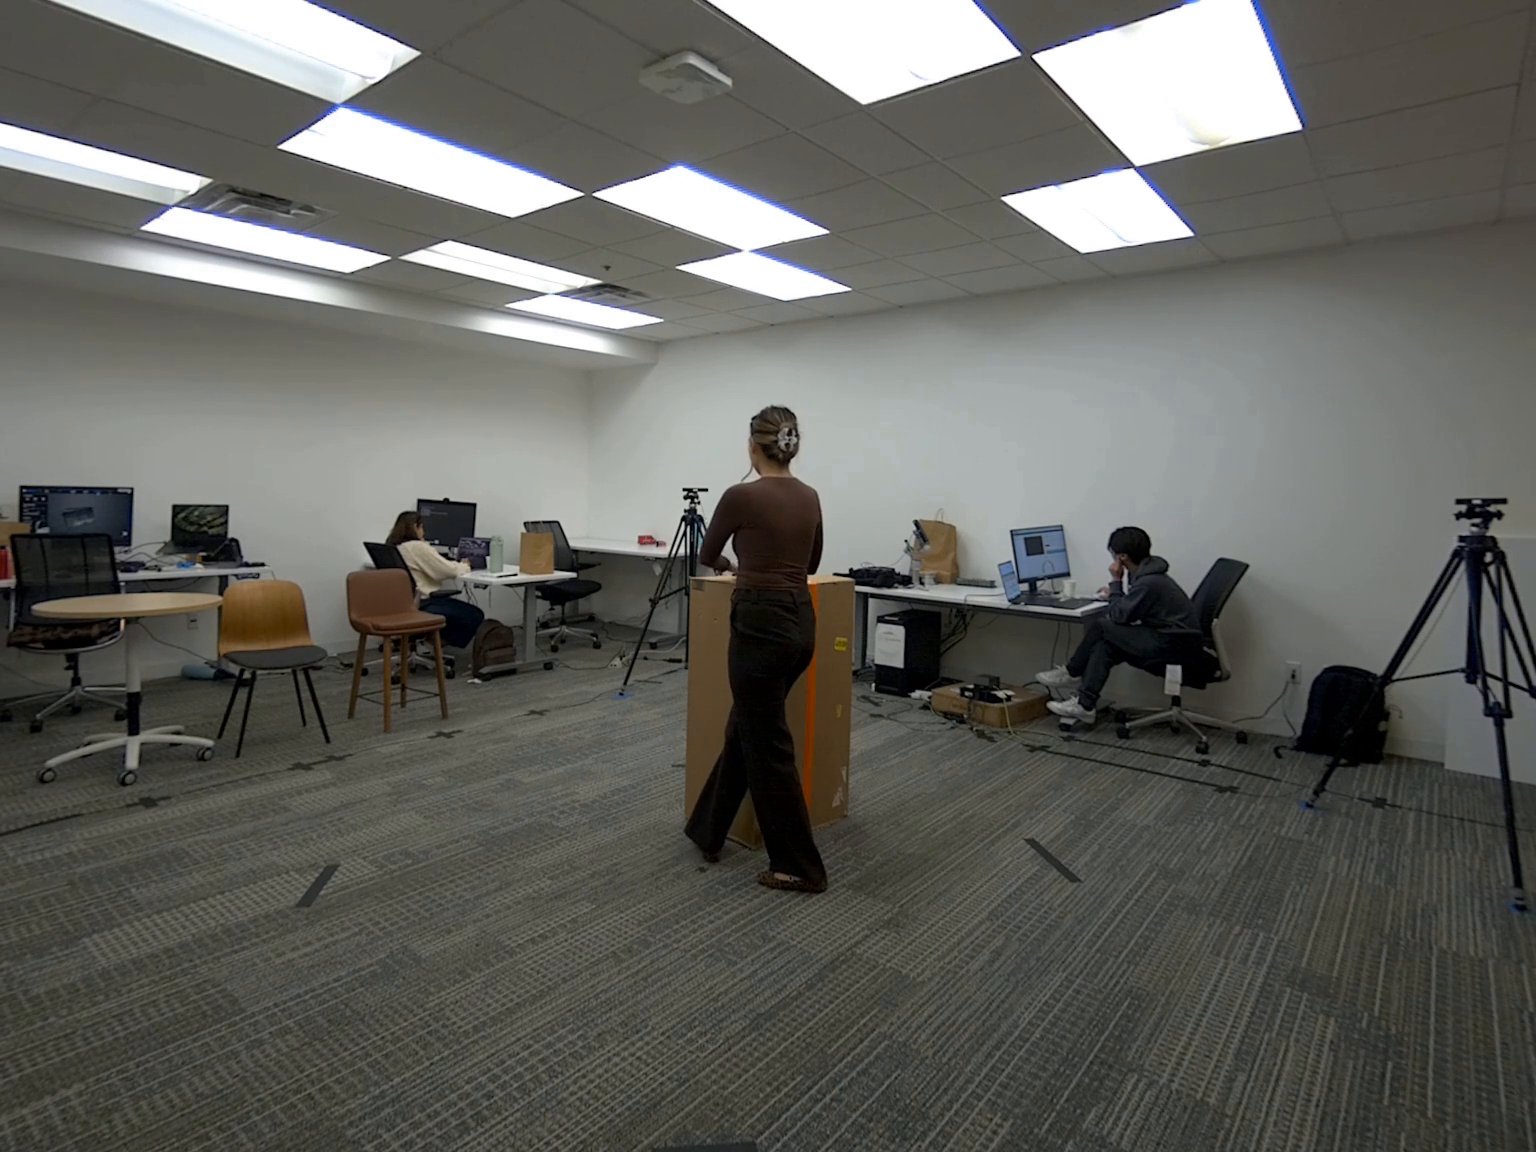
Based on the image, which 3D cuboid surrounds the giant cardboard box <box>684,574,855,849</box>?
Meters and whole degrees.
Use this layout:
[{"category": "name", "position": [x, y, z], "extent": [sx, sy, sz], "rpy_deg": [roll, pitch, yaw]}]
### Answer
[{"category": "giant cardboard box", "position": [0.003, 0.512, 3.607], "extent": [0.566, 1.024, 0.462], "rpy_deg": [-1, 5, -42]}]
